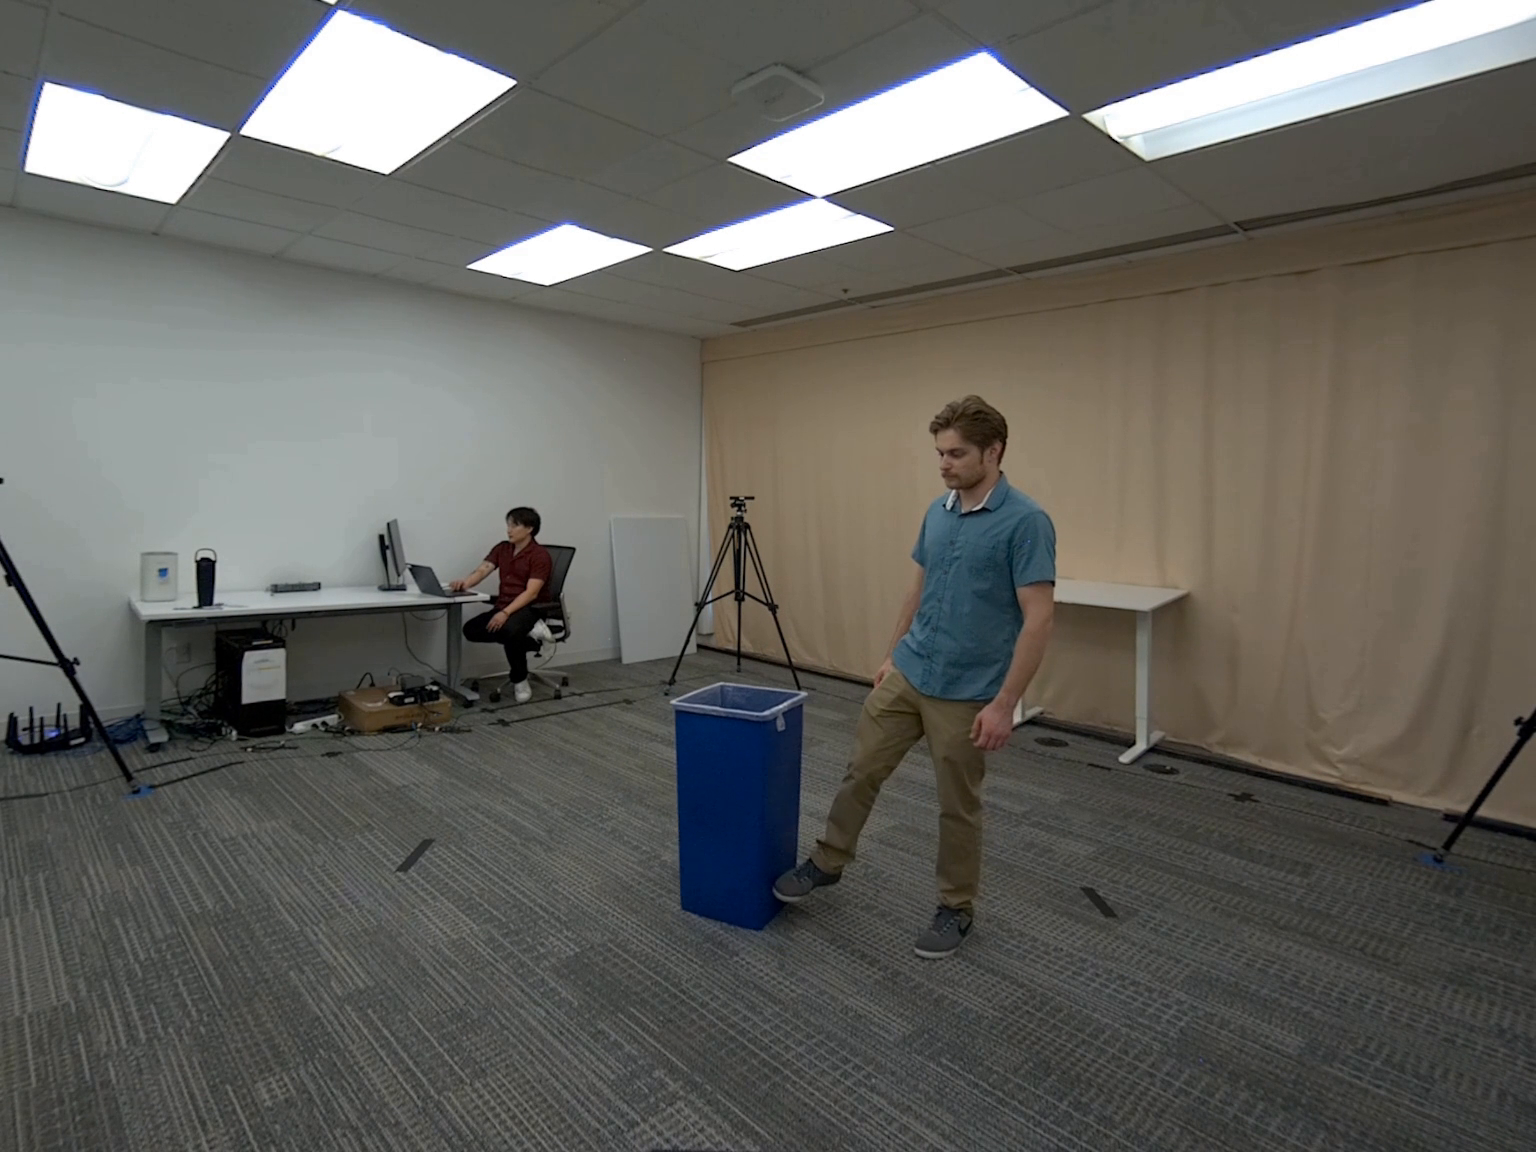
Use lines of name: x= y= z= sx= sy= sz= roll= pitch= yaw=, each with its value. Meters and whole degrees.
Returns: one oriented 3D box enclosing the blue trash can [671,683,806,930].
blue trash can: x=-0.106 y=0.767 z=2.884 sx=0.382 sy=0.712 sz=0.371 roll=3 pitch=4 yaw=27
